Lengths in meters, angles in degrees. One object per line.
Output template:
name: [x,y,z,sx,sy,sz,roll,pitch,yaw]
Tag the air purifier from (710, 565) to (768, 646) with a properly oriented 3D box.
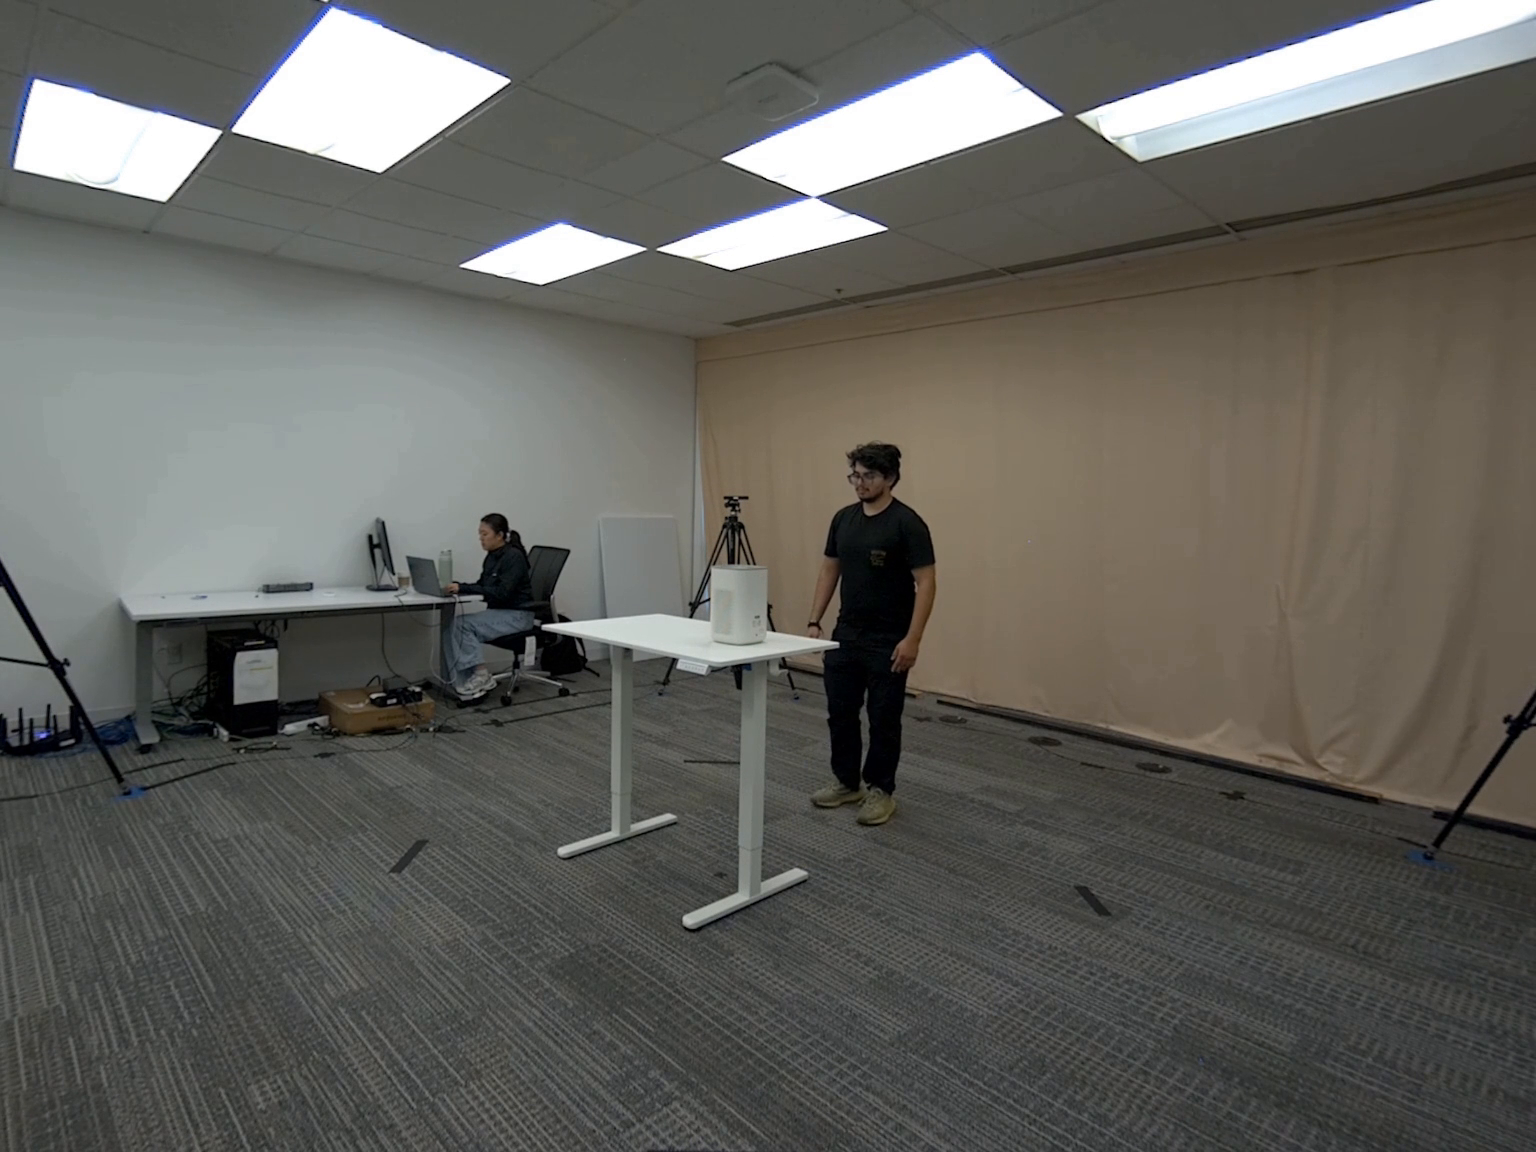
air purifier: [-0.103,0.100,2.954,0.176,0.265,0.167,3,3,39]
